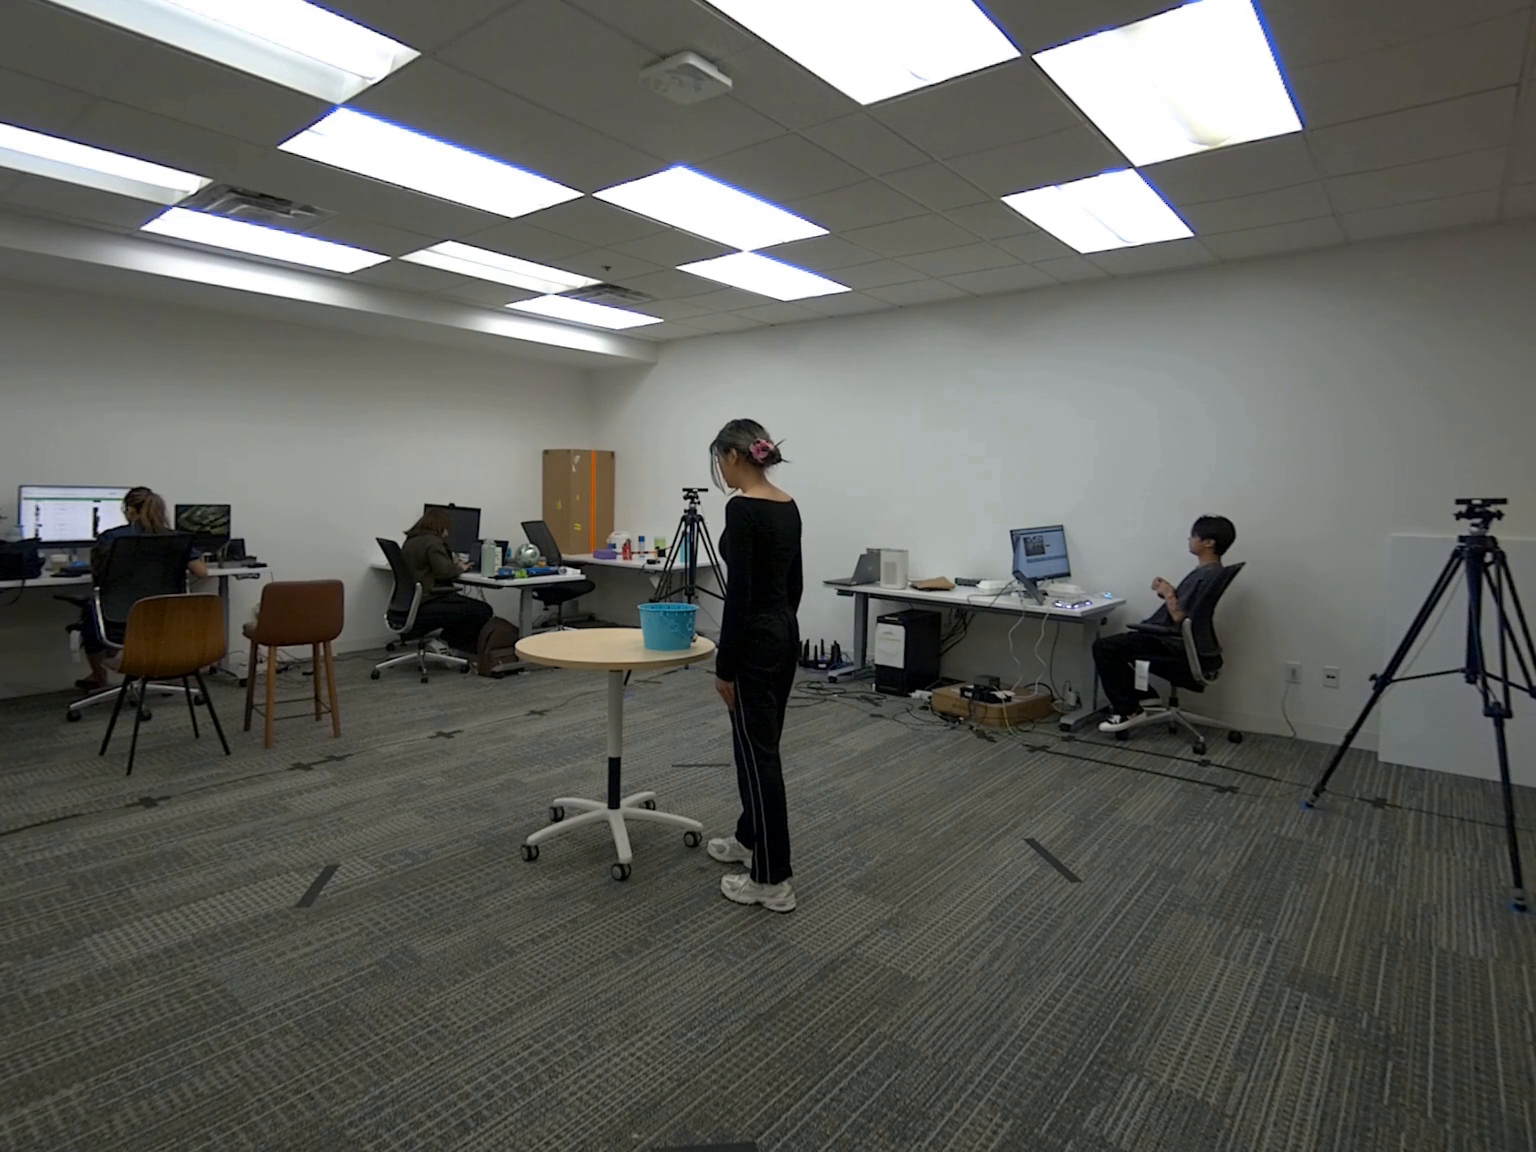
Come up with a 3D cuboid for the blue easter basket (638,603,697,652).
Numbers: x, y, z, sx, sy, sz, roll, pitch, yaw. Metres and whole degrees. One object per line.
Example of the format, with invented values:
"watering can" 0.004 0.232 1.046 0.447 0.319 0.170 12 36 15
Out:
"blue easter basket" -0.394 0.192 3.256 0.243 0.155 0.244 1 3 -2
